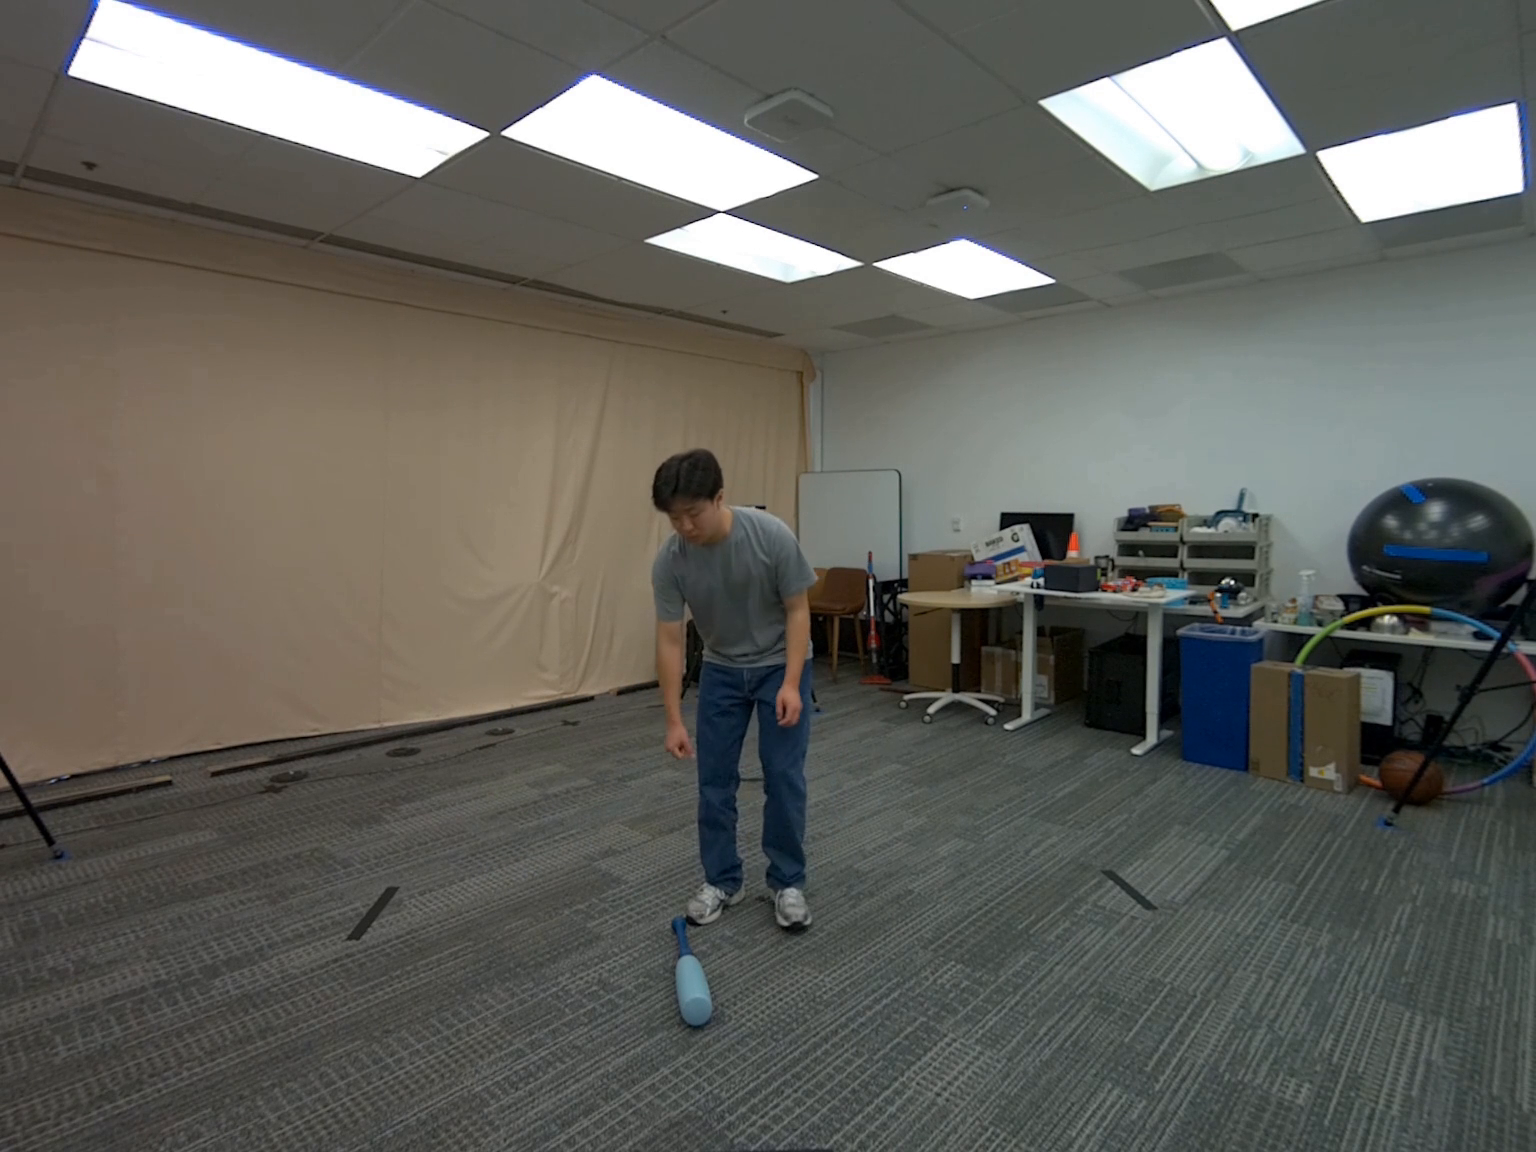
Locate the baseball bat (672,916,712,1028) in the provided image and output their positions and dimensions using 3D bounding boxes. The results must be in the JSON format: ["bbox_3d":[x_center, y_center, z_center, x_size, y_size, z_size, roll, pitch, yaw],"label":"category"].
[{"bbox_3d":[-0.239,1.148,2.493,0.088,0.089,0.548,-1,1,-11],"label":"baseball bat"}]
